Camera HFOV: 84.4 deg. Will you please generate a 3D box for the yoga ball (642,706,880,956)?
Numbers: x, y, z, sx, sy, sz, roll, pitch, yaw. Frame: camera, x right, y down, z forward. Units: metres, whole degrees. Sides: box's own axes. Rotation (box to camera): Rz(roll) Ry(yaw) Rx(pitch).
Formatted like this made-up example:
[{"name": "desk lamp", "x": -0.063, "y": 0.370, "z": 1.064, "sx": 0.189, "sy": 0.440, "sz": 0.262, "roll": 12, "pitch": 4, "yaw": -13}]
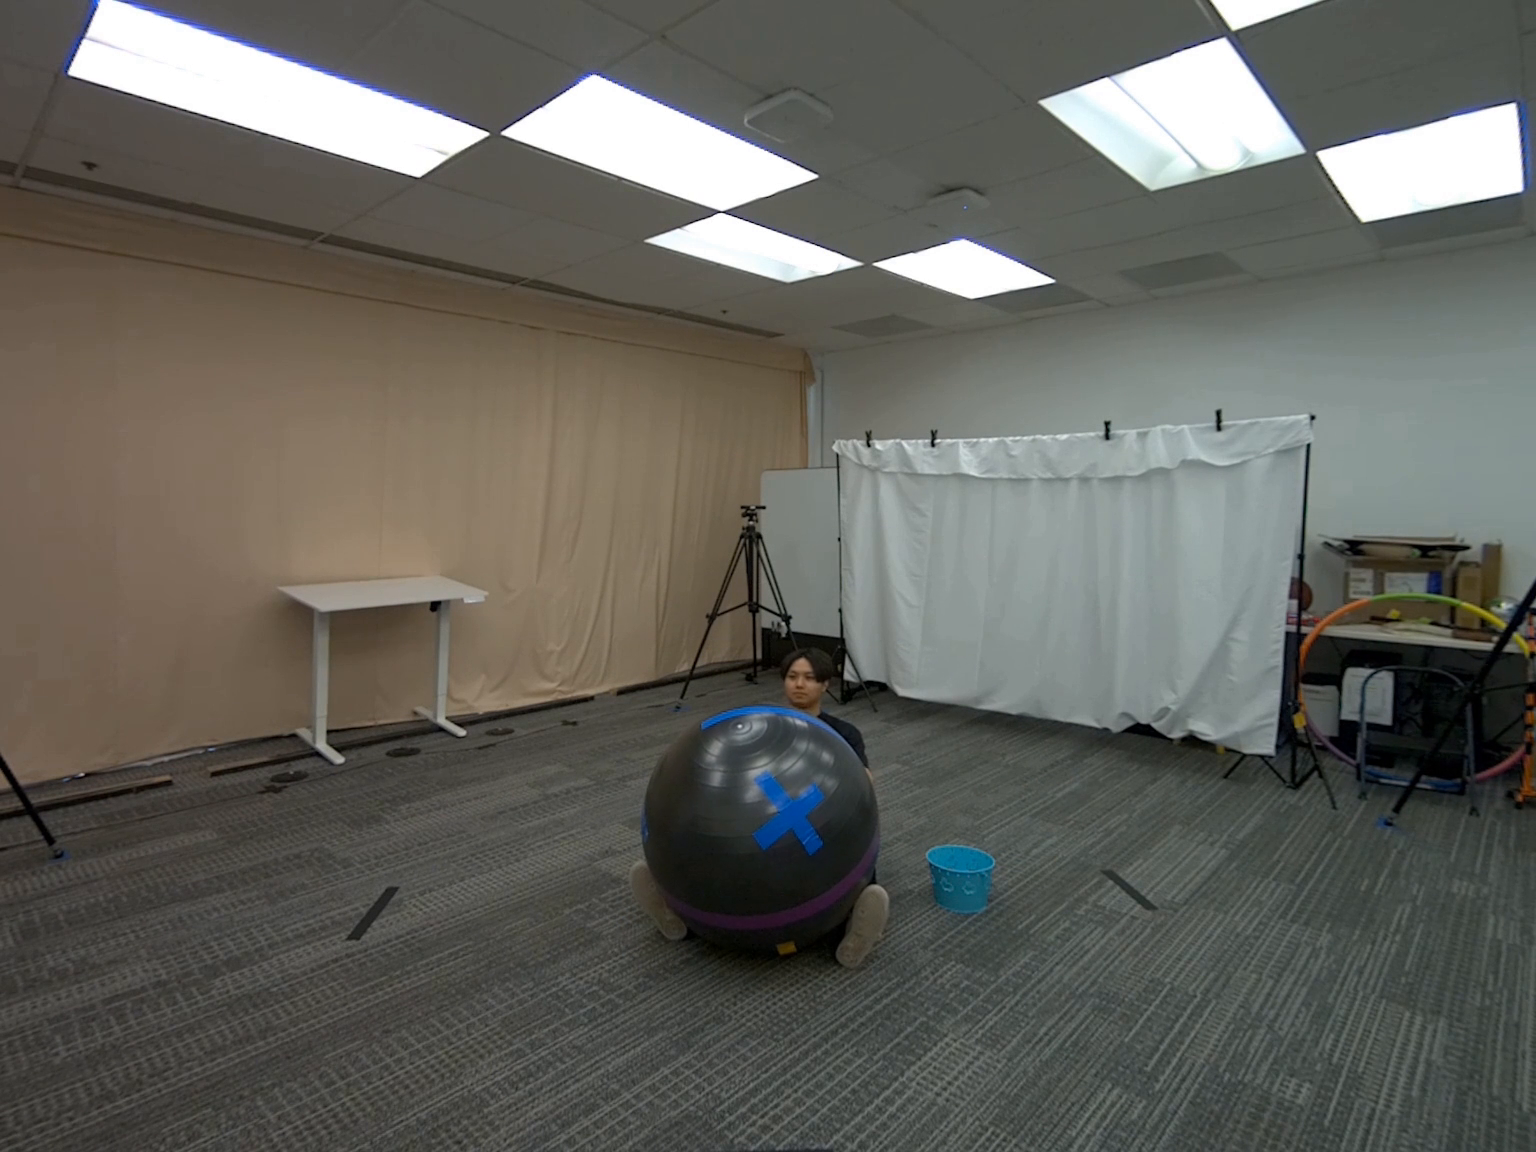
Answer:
[{"name": "yoga ball", "x": -0.023, "y": 0.800, "z": 2.689, "sx": 0.757, "sy": 0.756, "sz": 0.760, "roll": 0, "pitch": 4, "yaw": -2}]
